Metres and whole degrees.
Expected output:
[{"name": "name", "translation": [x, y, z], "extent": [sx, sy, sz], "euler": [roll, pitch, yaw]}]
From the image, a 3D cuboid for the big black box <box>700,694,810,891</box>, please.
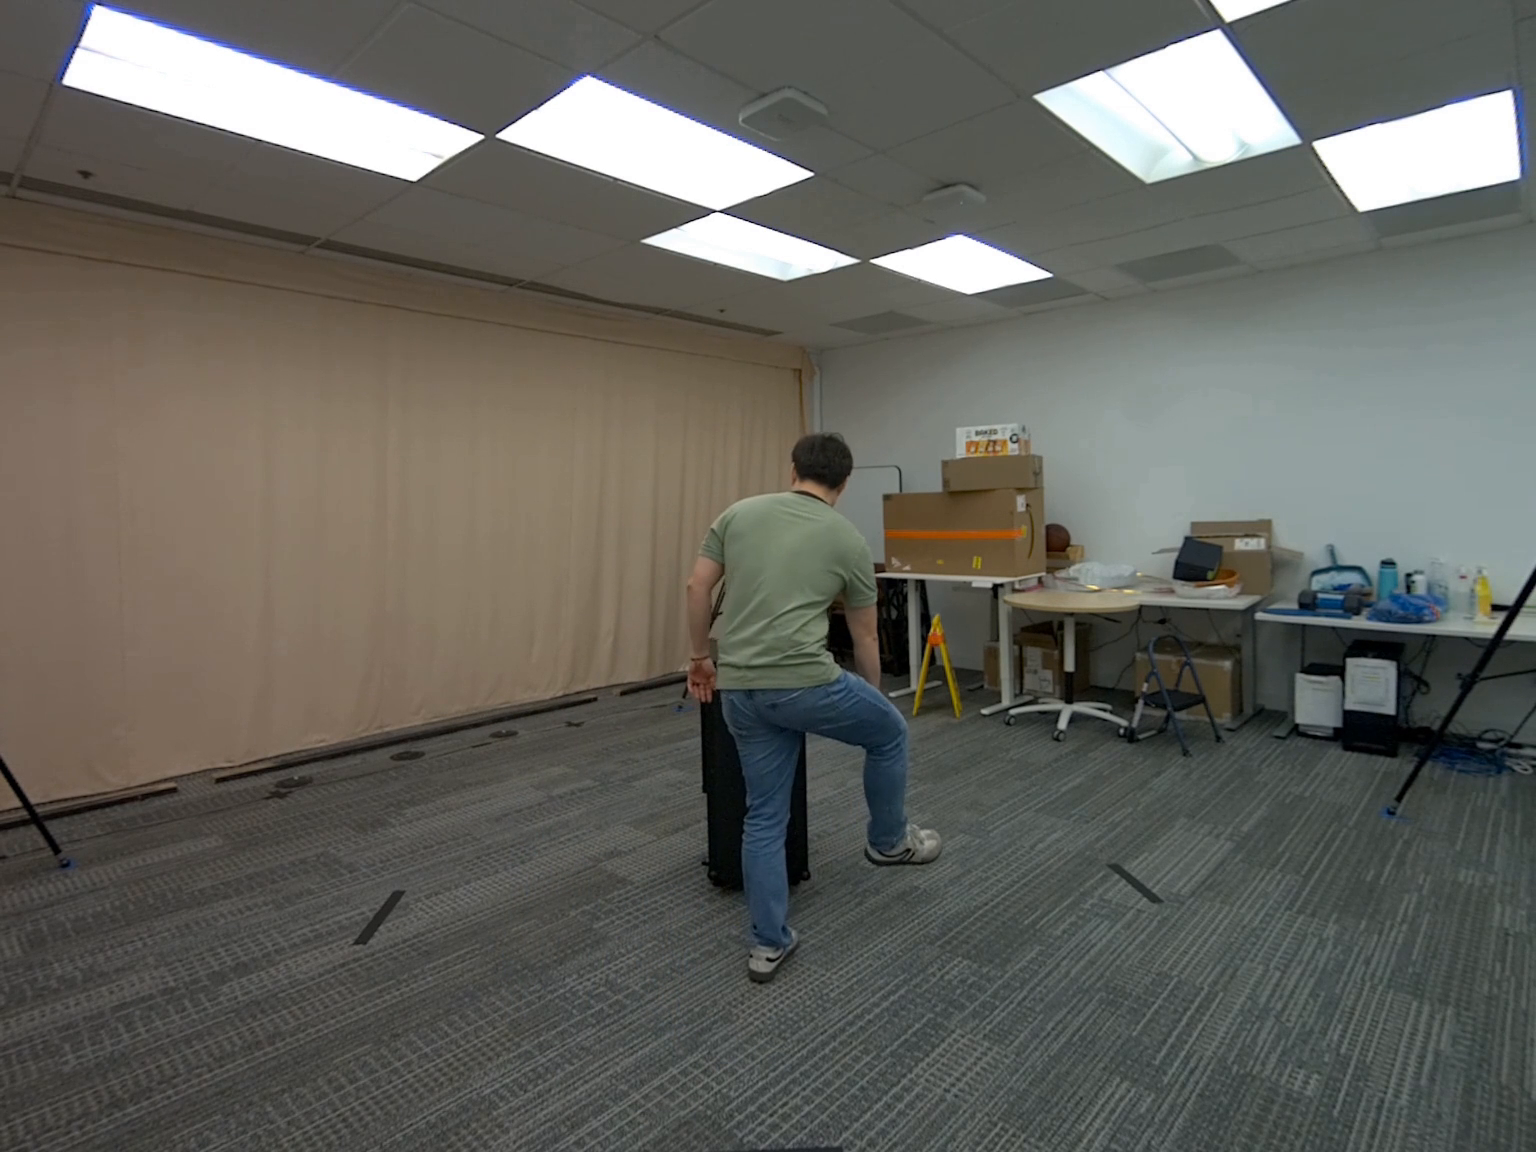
[{"name": "big black box", "translation": [-0.050, 0.701, 3.175], "extent": [0.397, 0.859, 0.521], "euler": [-2, 4, 1]}]
